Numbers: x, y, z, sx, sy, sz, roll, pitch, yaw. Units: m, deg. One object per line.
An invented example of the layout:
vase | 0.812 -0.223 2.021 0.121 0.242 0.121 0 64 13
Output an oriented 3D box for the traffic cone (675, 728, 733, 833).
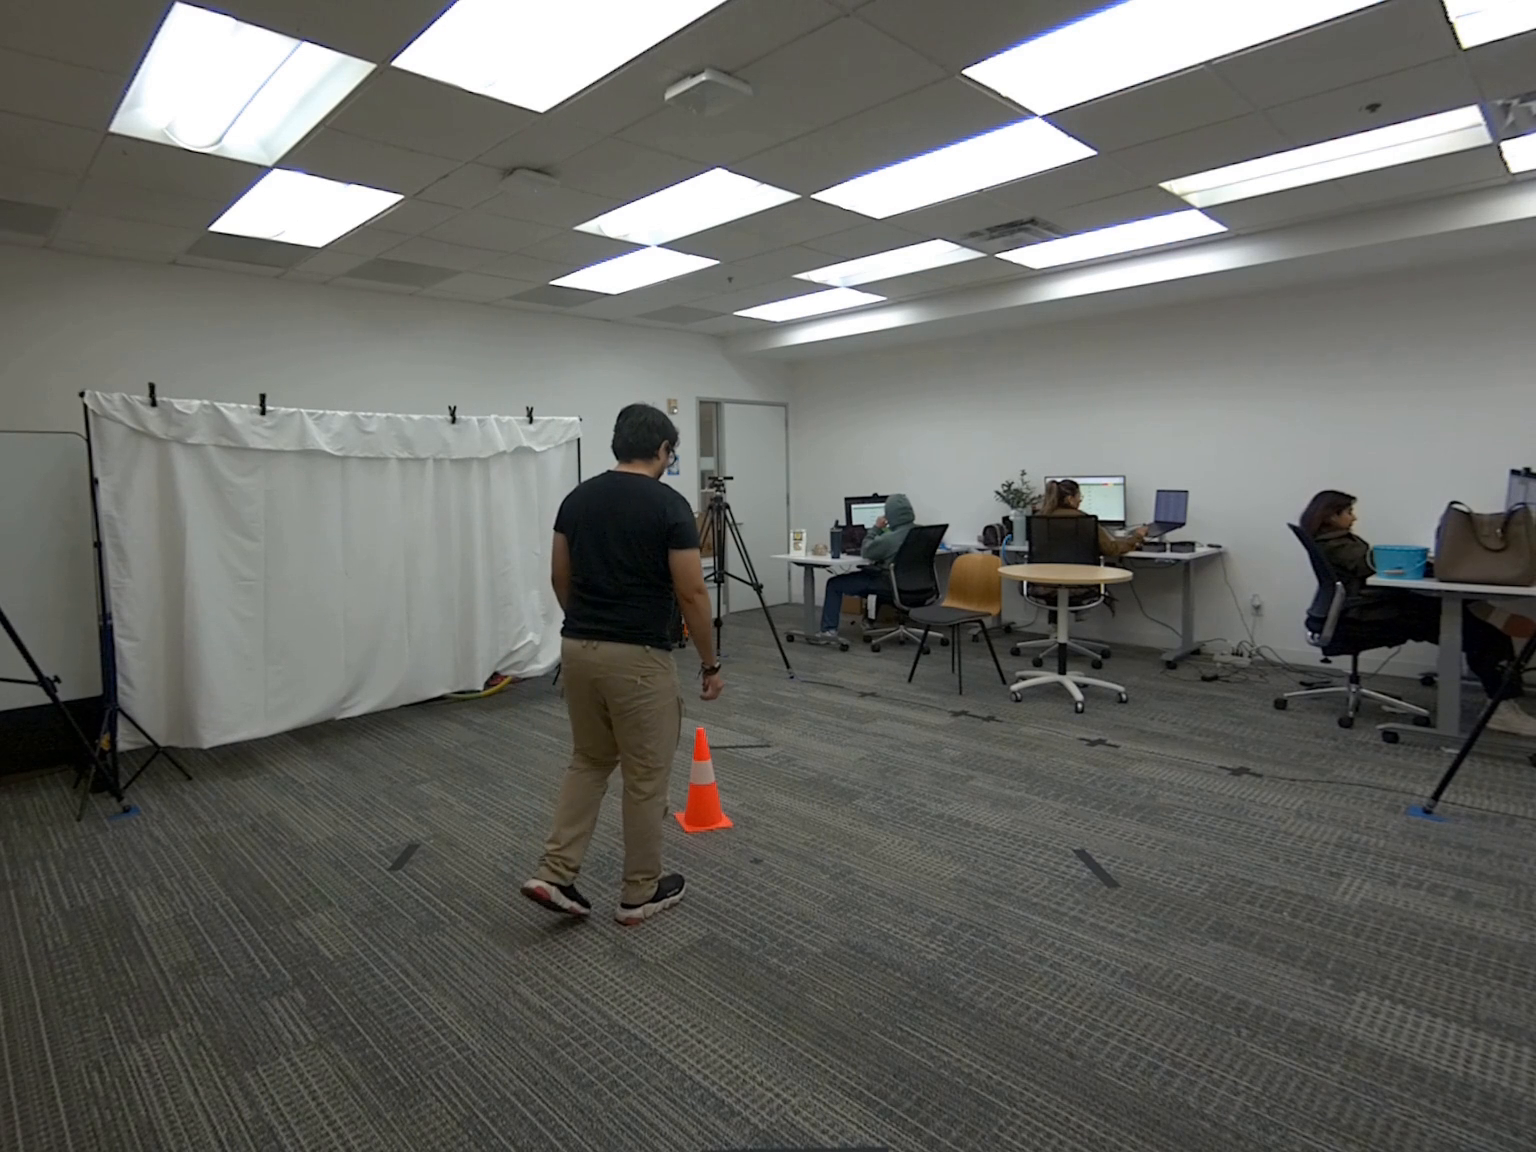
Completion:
traffic cone | -0.271 0.813 3.477 0.201 0.382 0.208 -5 5 -25
